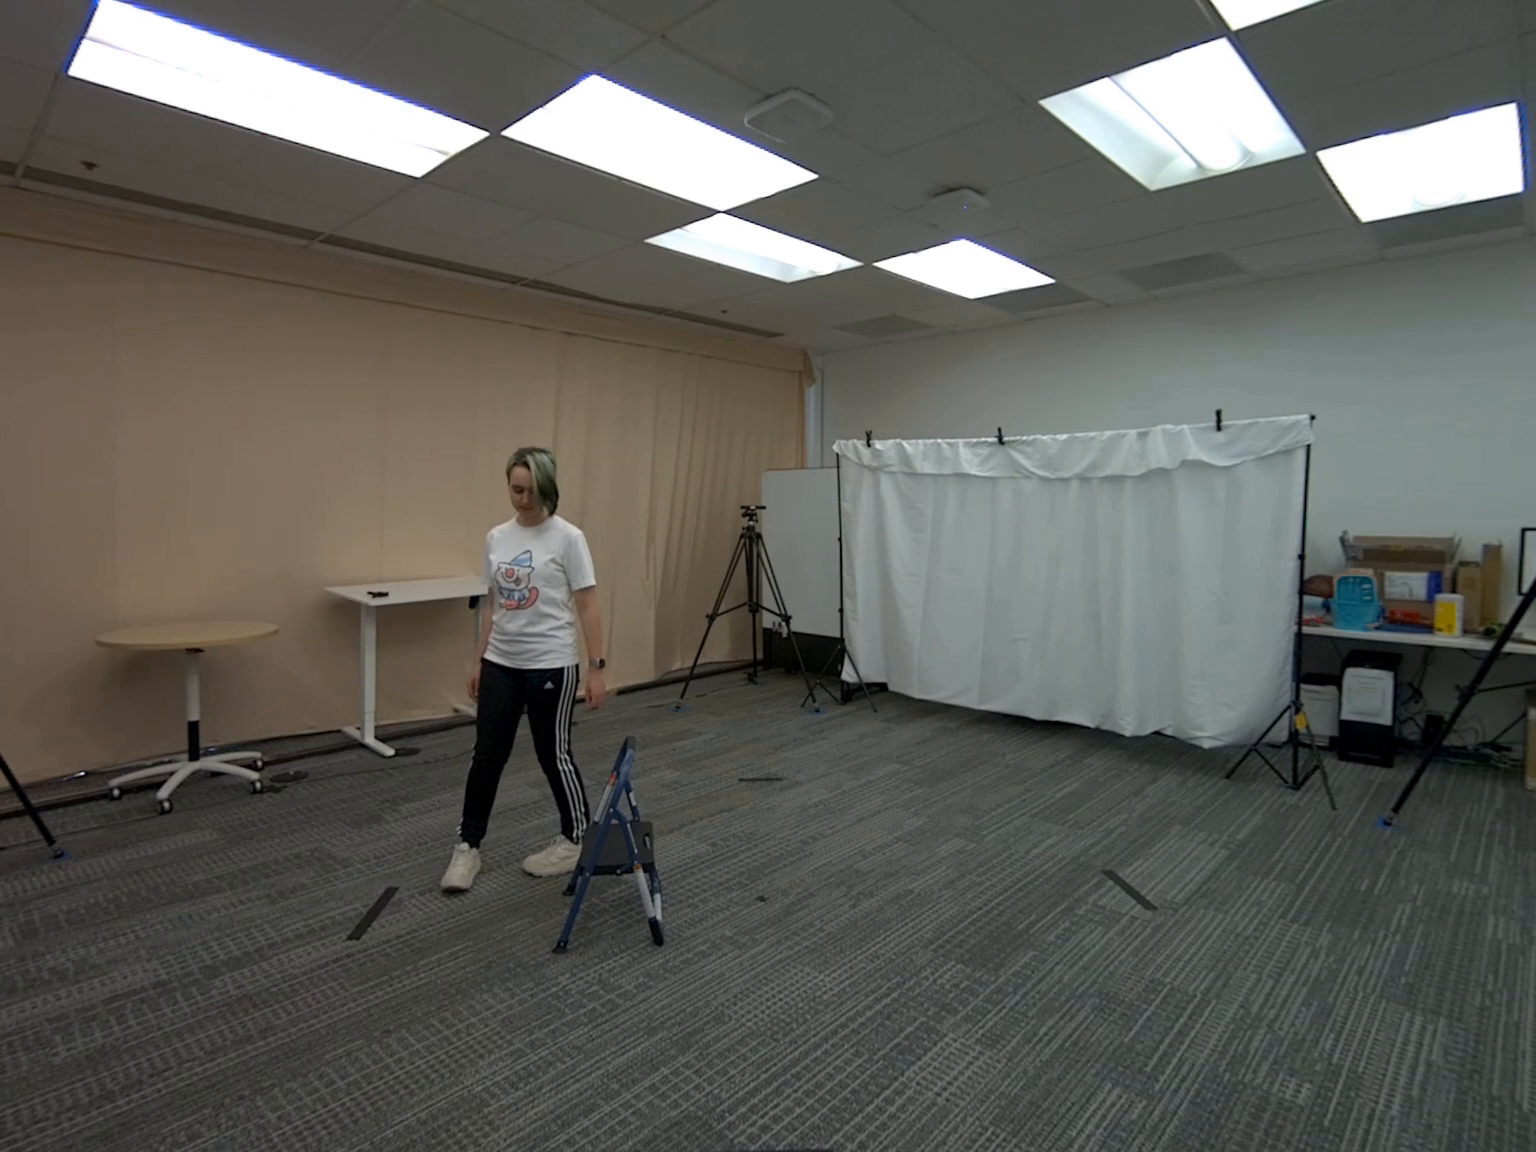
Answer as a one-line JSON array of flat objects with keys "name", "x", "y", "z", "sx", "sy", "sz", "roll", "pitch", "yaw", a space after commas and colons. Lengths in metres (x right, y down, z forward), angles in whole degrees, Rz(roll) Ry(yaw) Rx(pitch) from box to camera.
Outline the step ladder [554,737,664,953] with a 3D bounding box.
[{"name": "step ladder", "x": -0.532, "y": 0.860, "z": 2.837, "sx": 0.347, "sy": 0.605, "sz": 0.435, "roll": -1, "pitch": 3, "yaw": -8}]
